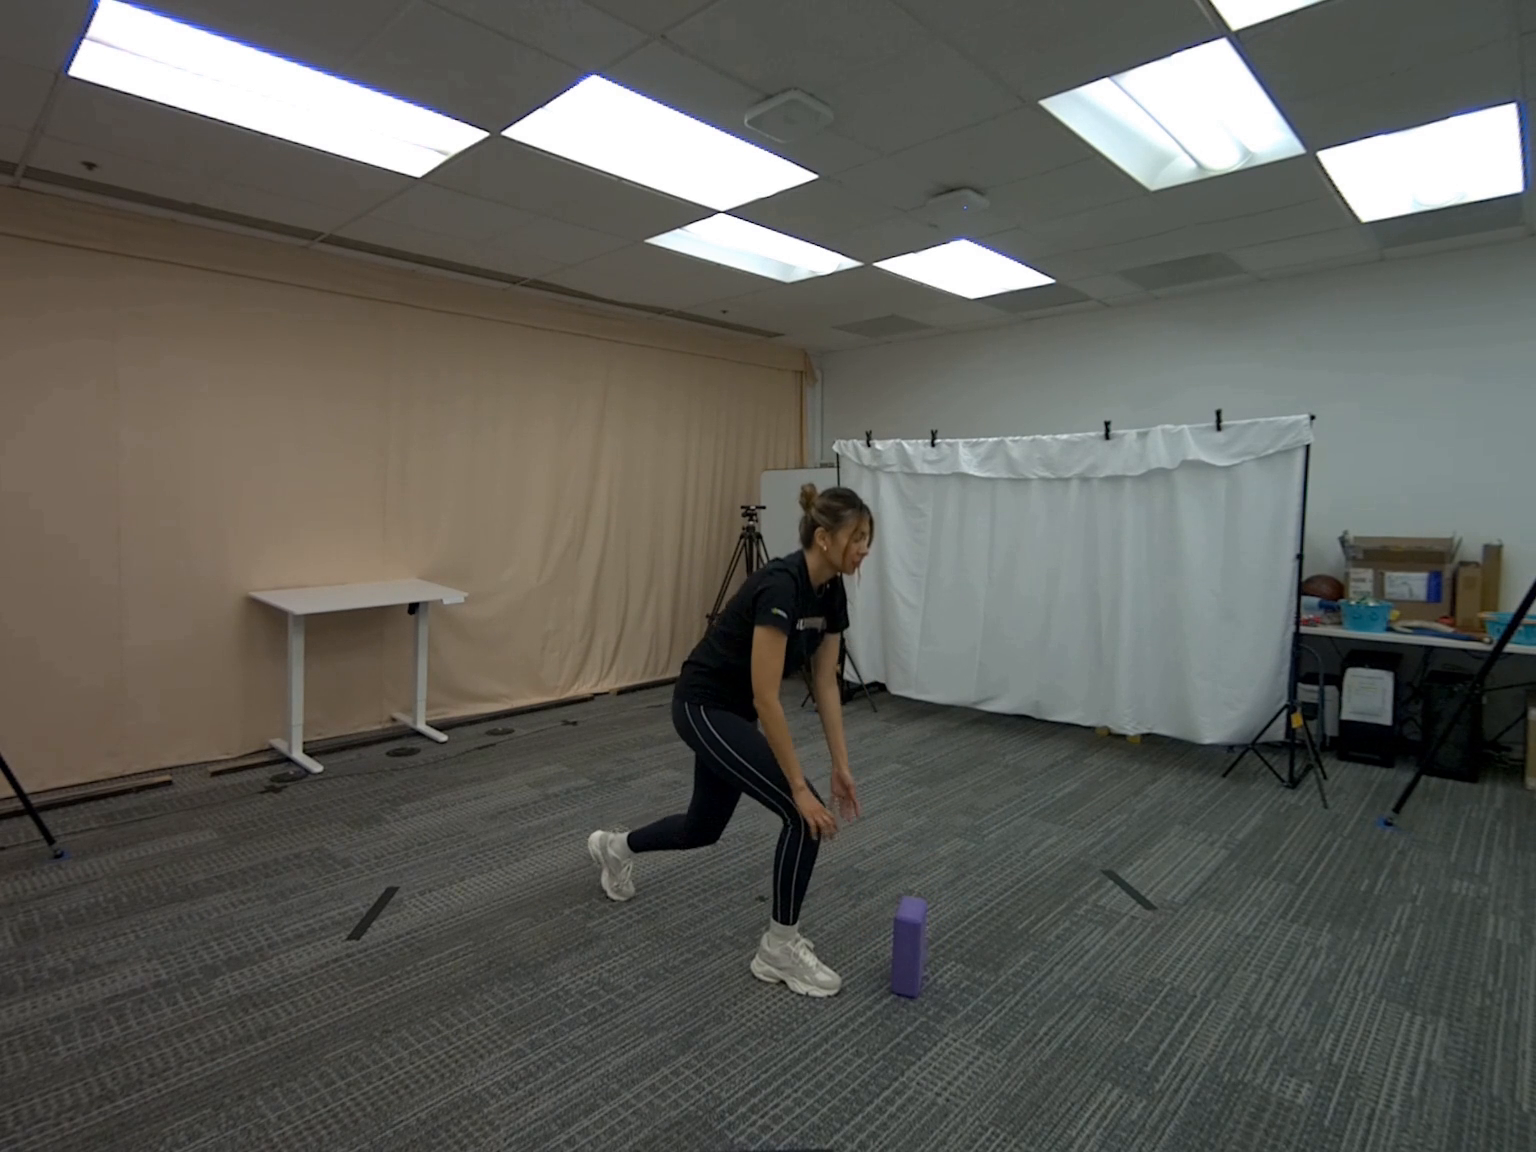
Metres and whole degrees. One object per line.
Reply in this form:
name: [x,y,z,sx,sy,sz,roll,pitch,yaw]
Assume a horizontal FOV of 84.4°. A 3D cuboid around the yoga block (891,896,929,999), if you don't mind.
yoga block: [0.410,1.074,2.438,0.078,0.229,0.146,3,4,17]
